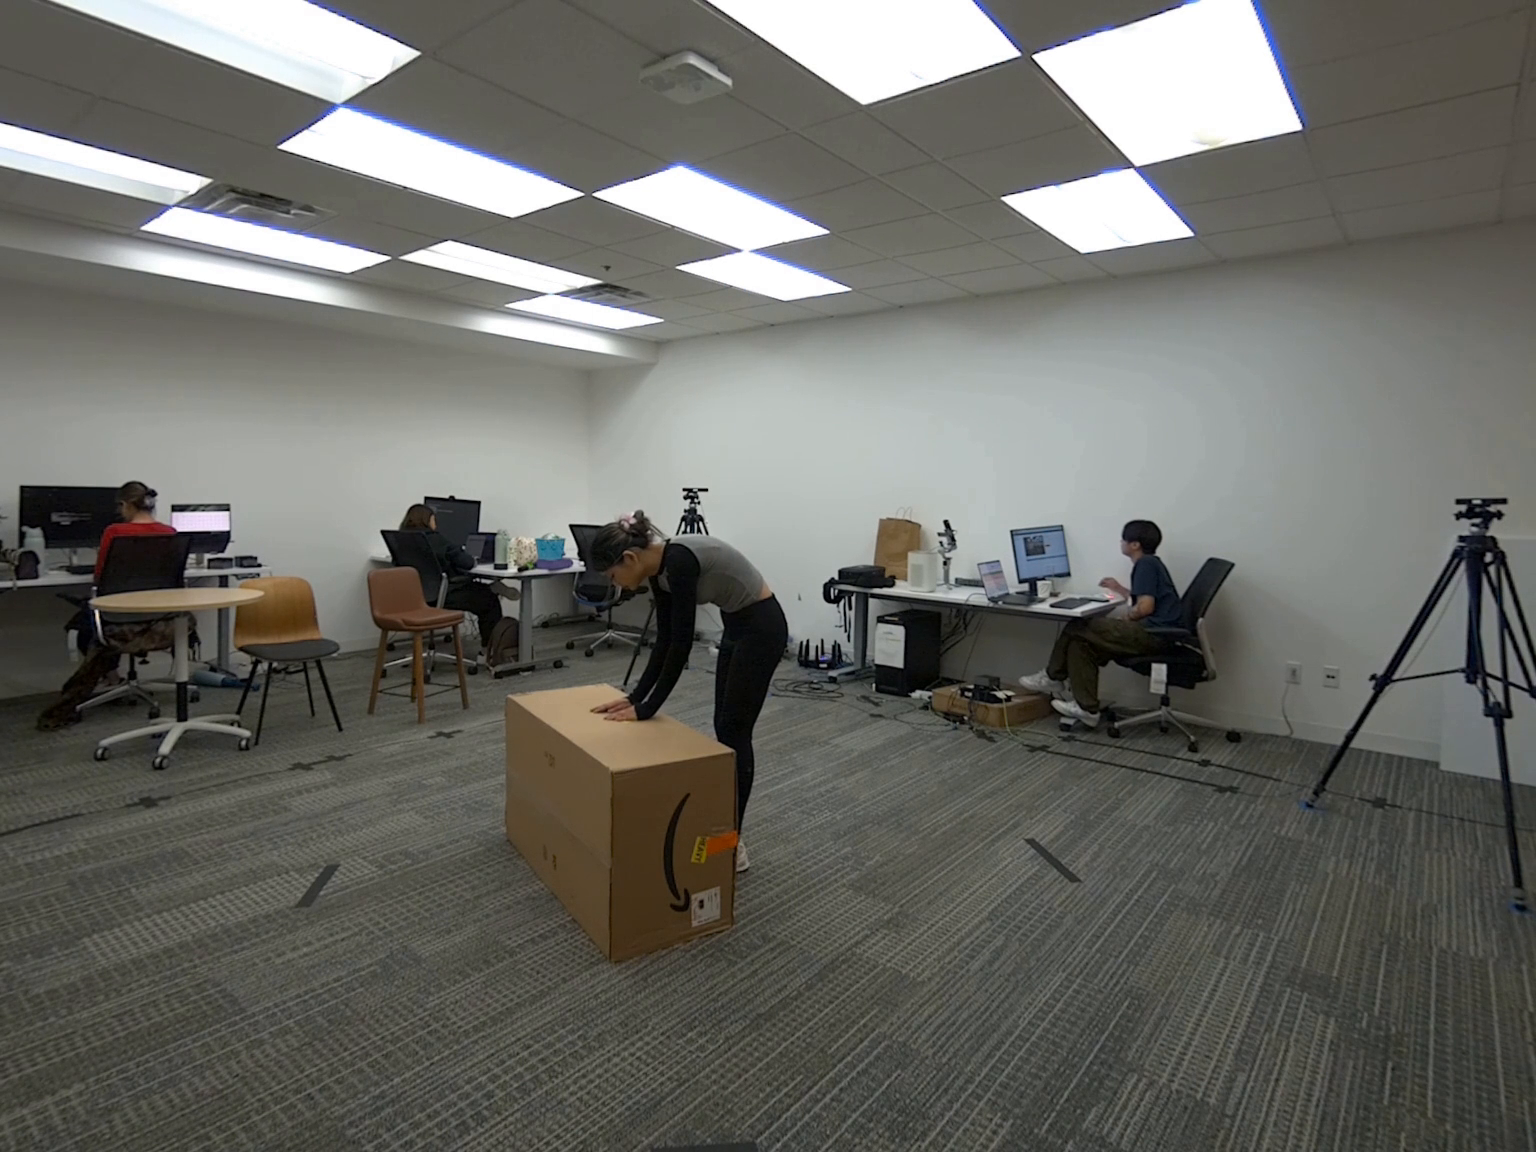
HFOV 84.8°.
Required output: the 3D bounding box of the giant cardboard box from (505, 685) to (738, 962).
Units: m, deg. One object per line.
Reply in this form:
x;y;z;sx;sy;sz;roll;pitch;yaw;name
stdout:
-0.574;0.786;2.999;0.414;0.575;1.059;-1;6;-33;giant cardboard box
